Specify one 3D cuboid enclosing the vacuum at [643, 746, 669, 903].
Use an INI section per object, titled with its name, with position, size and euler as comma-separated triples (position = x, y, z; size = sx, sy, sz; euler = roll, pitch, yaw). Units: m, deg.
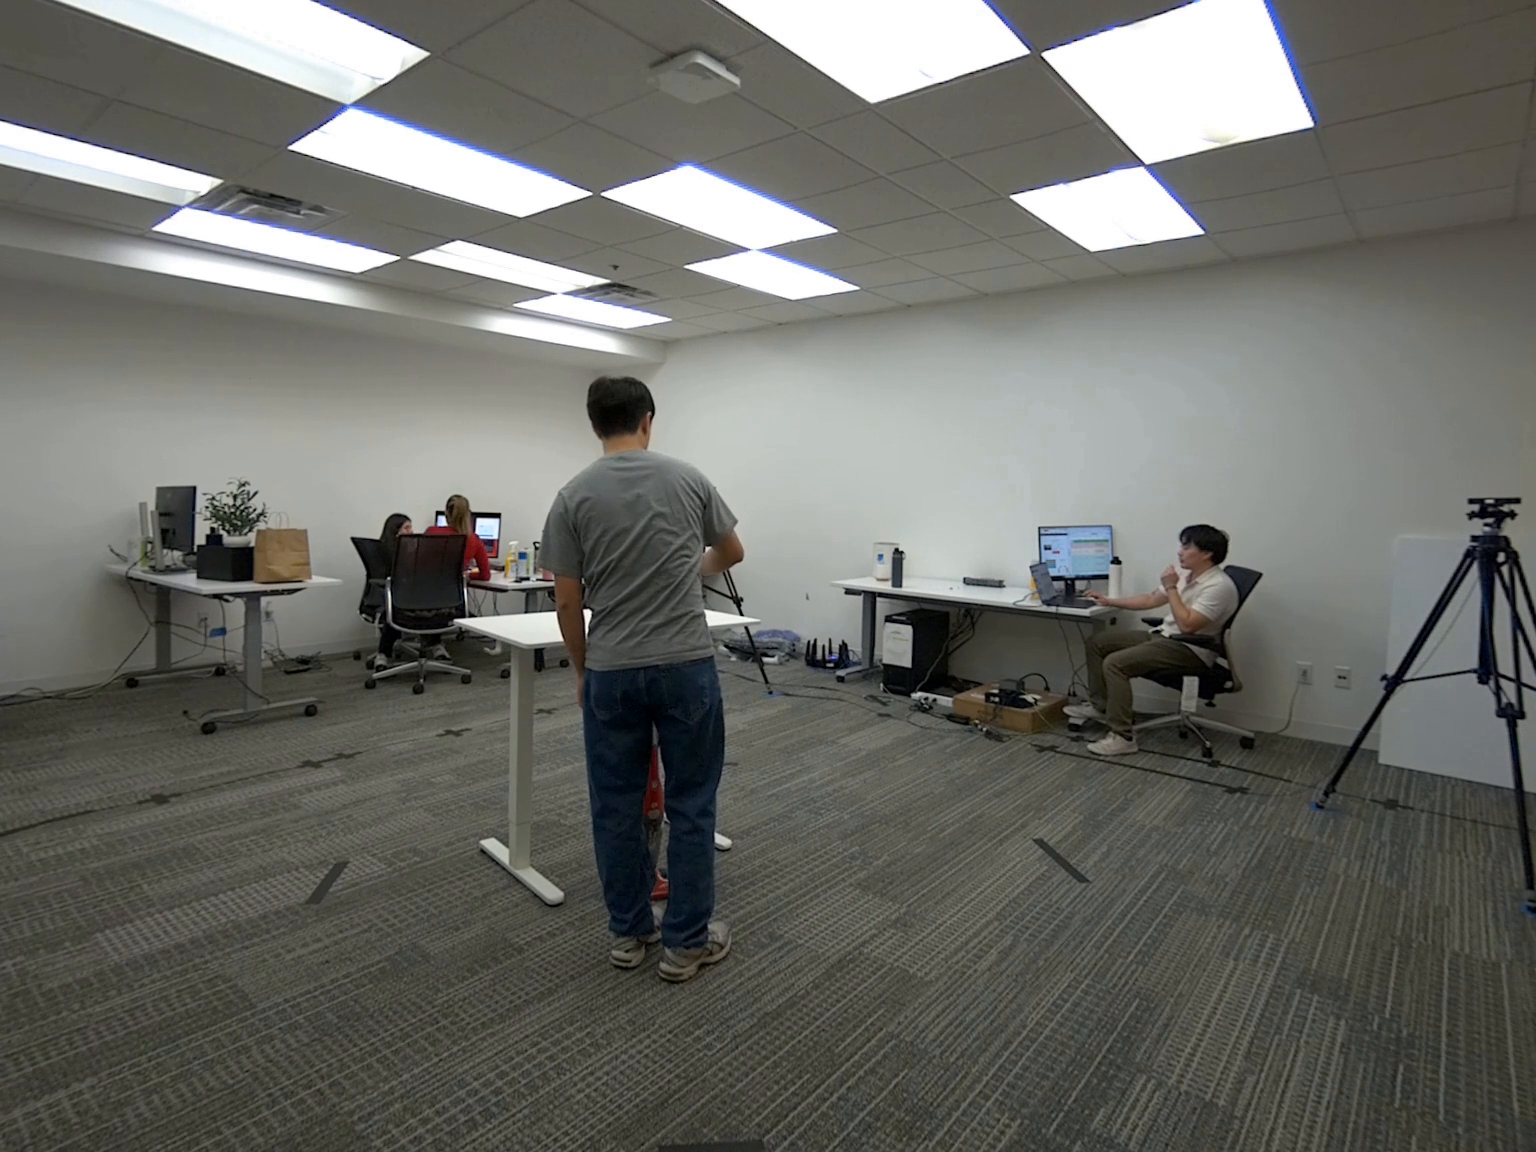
[vacuum]
position = -0.419, 0.564, 2.943
size = 0.249, 1.054, 0.145
euler = 1, -4, -15
